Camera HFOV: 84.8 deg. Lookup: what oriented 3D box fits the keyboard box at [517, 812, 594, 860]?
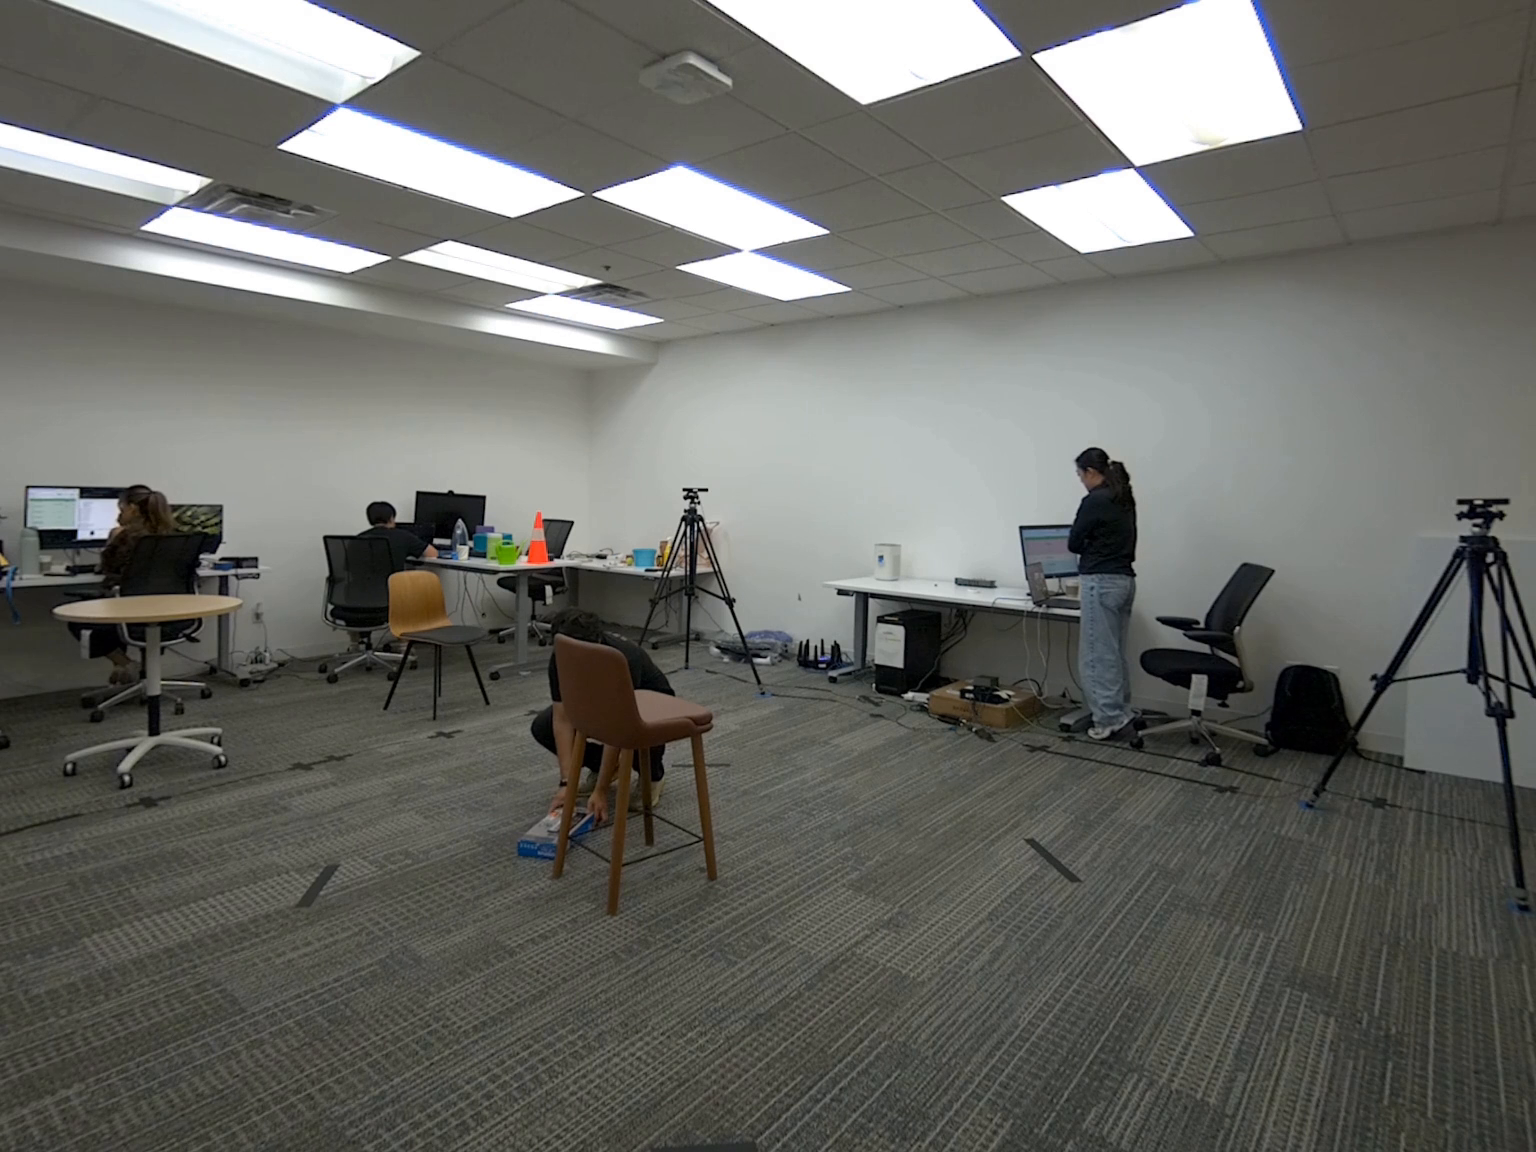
[{"bbox_3d":[-0.842,1.007,3.400,0.178,0.059,0.432,1,5,12],"label":"keyboard box"}]
